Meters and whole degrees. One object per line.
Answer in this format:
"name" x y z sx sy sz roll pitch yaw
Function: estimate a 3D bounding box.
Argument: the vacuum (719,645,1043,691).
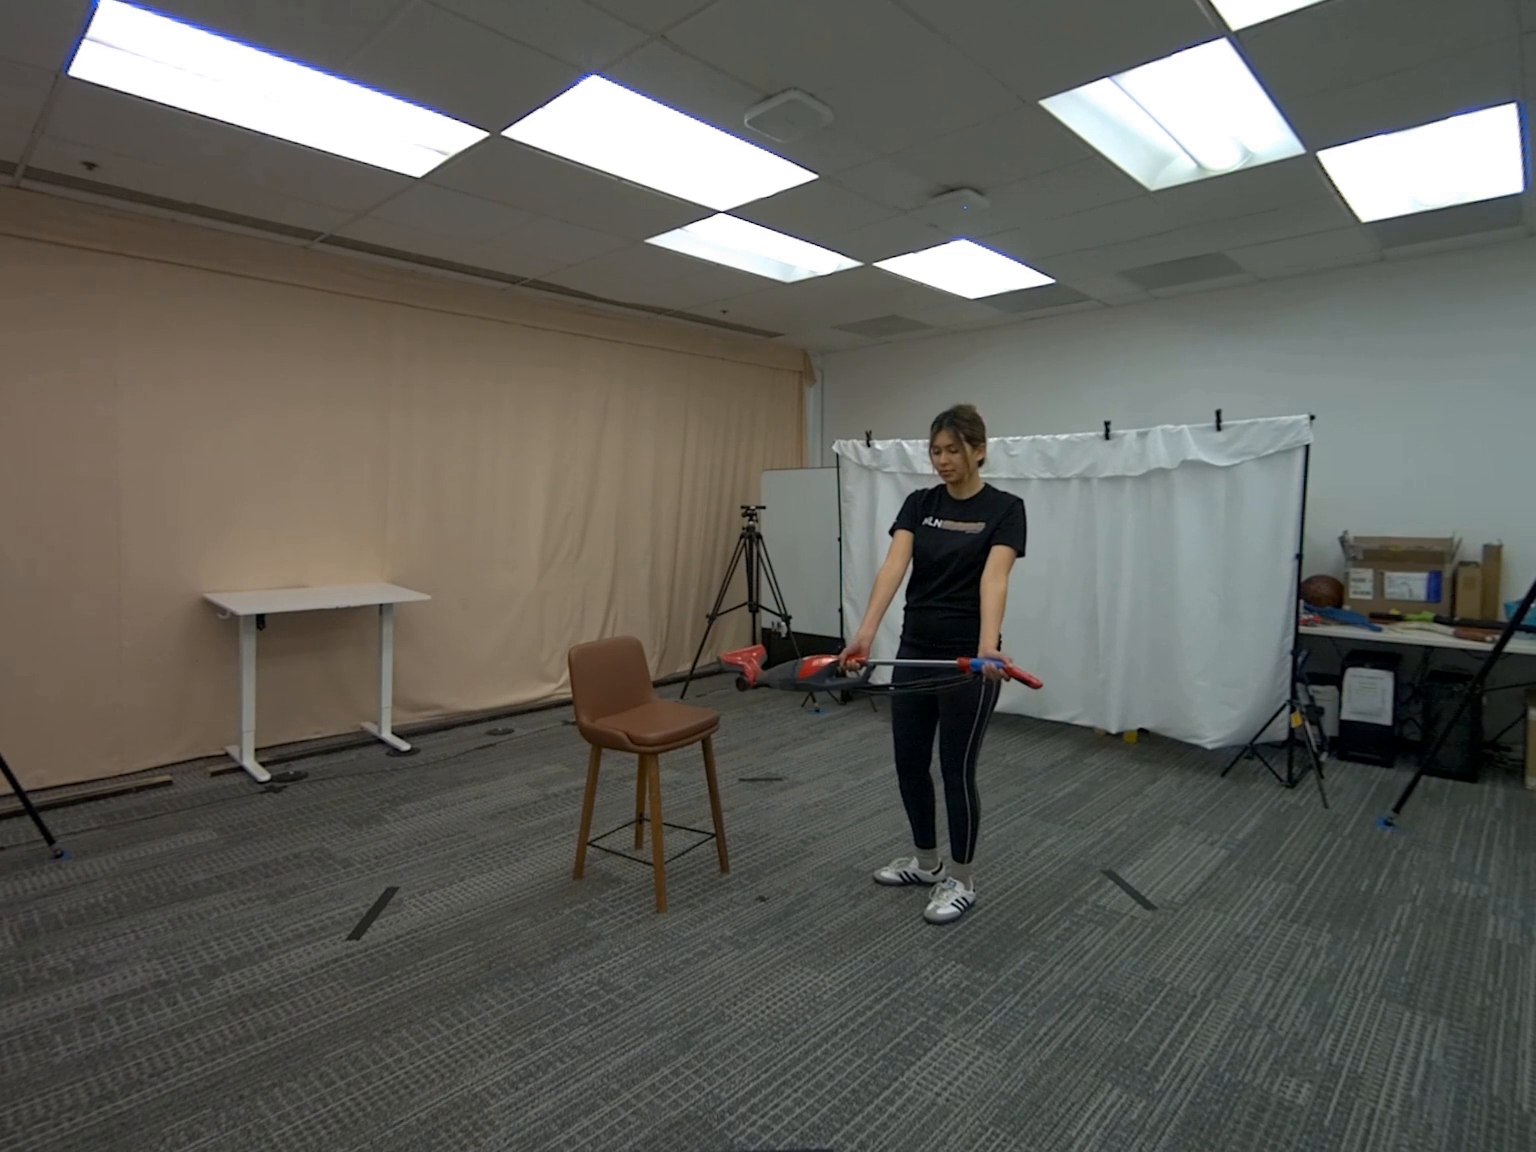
"vacuum" 0.332 0.330 2.661 1.082 0.144 0.245 -2 3 42
